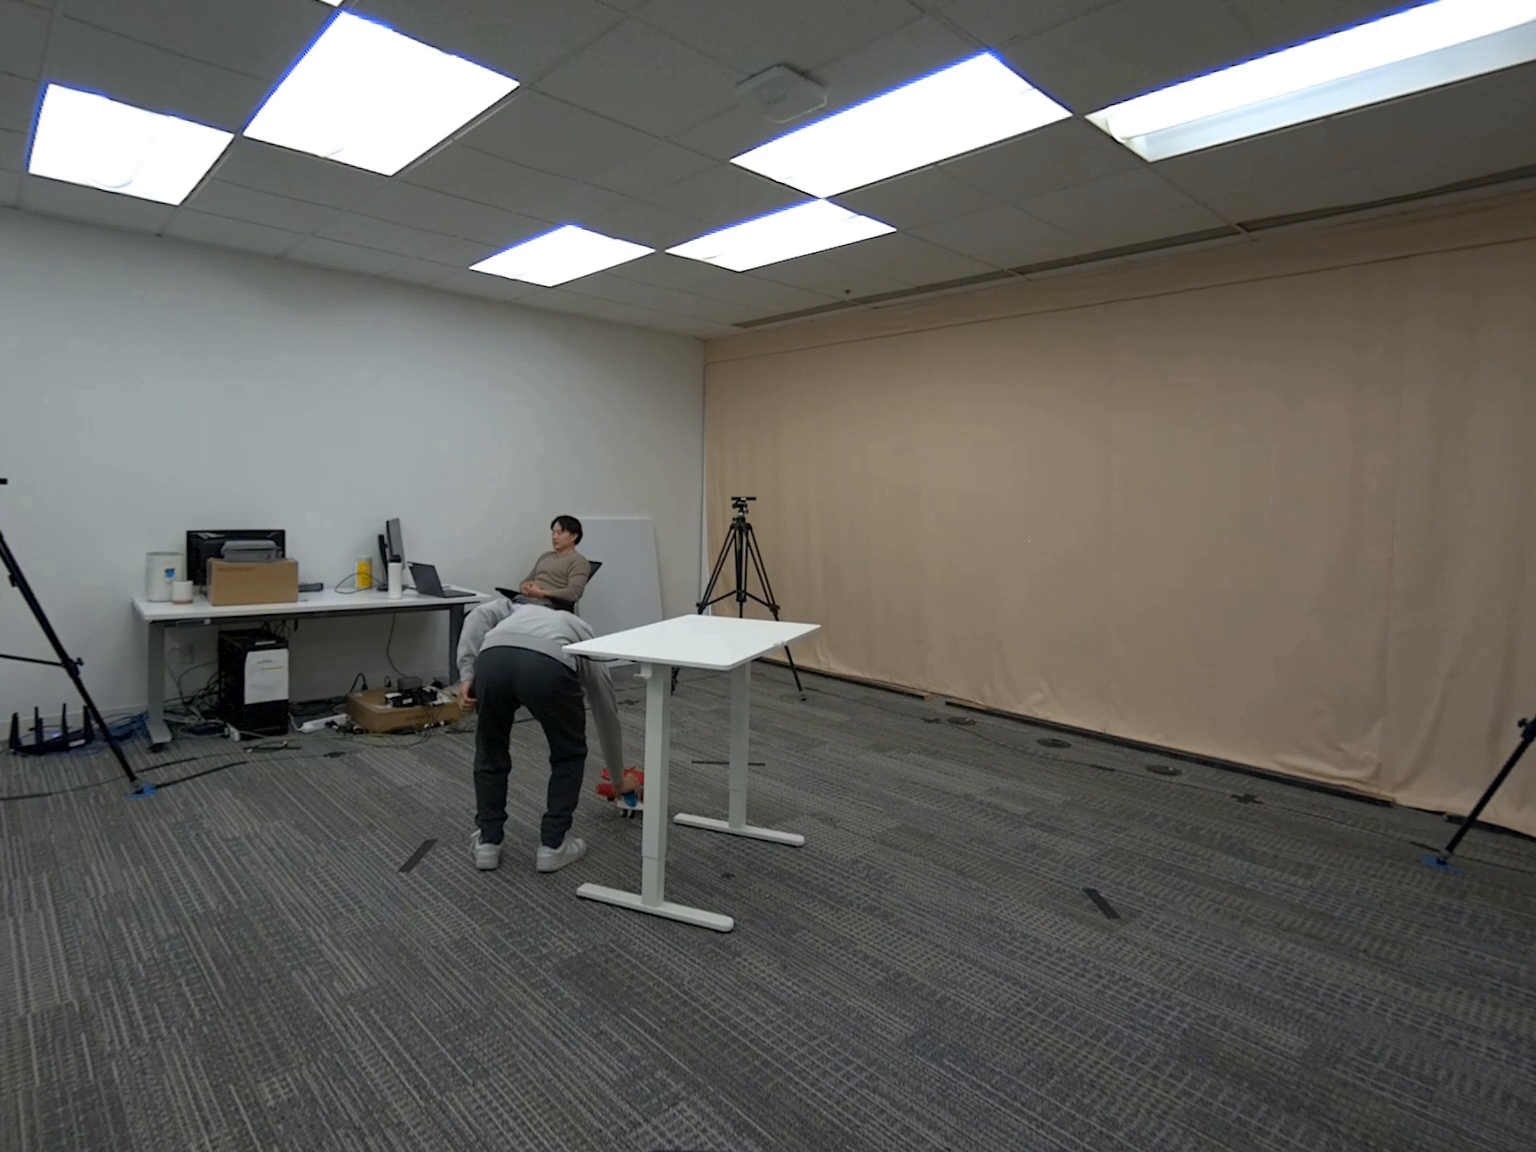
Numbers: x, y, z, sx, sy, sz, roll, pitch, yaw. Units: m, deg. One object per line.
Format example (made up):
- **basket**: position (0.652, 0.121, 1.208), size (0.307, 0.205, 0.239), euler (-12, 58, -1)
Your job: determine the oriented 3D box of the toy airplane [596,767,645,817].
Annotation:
- **toy airplane**: position (-0.608, 0.939, 3.671), size (0.266, 0.156, 0.244), euler (15, 2, 43)
